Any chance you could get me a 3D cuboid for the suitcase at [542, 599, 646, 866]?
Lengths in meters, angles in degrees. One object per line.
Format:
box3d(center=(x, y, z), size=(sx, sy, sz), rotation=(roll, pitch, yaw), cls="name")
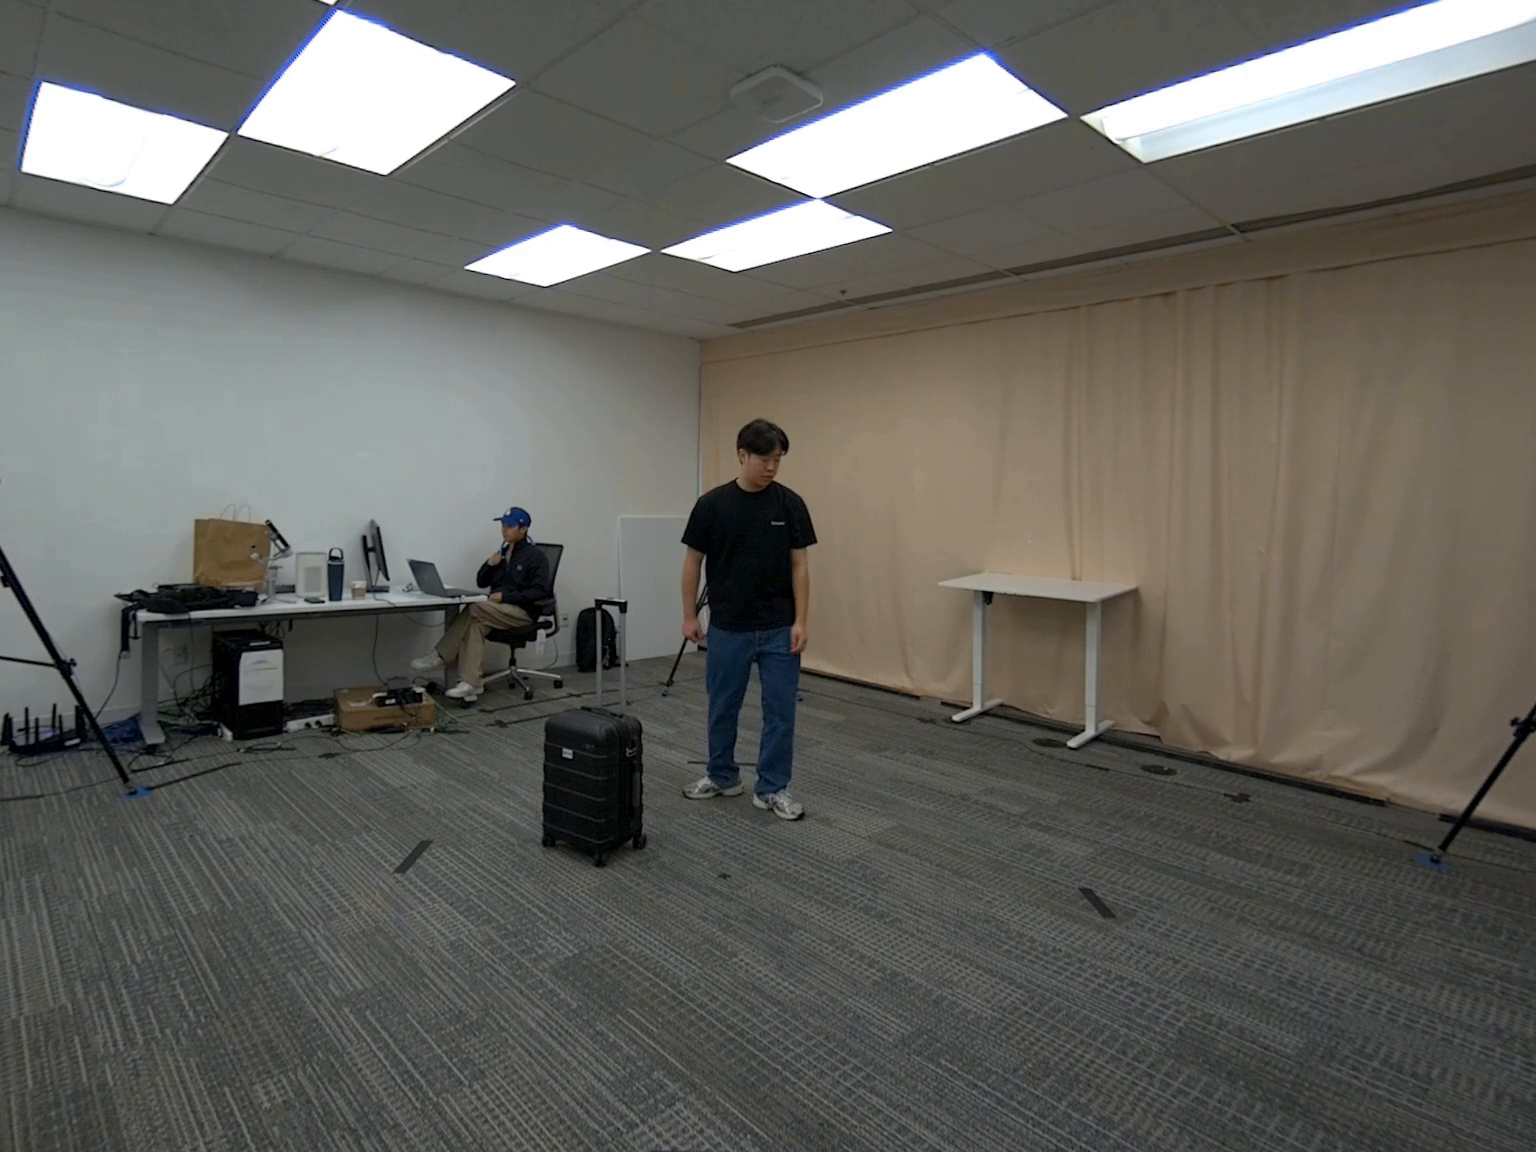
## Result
box3d(center=(-0.695, 0.603, 3.282), size=(0.393, 0.974, 0.252), rotation=(4, 7, 35), cls="suitcase")
